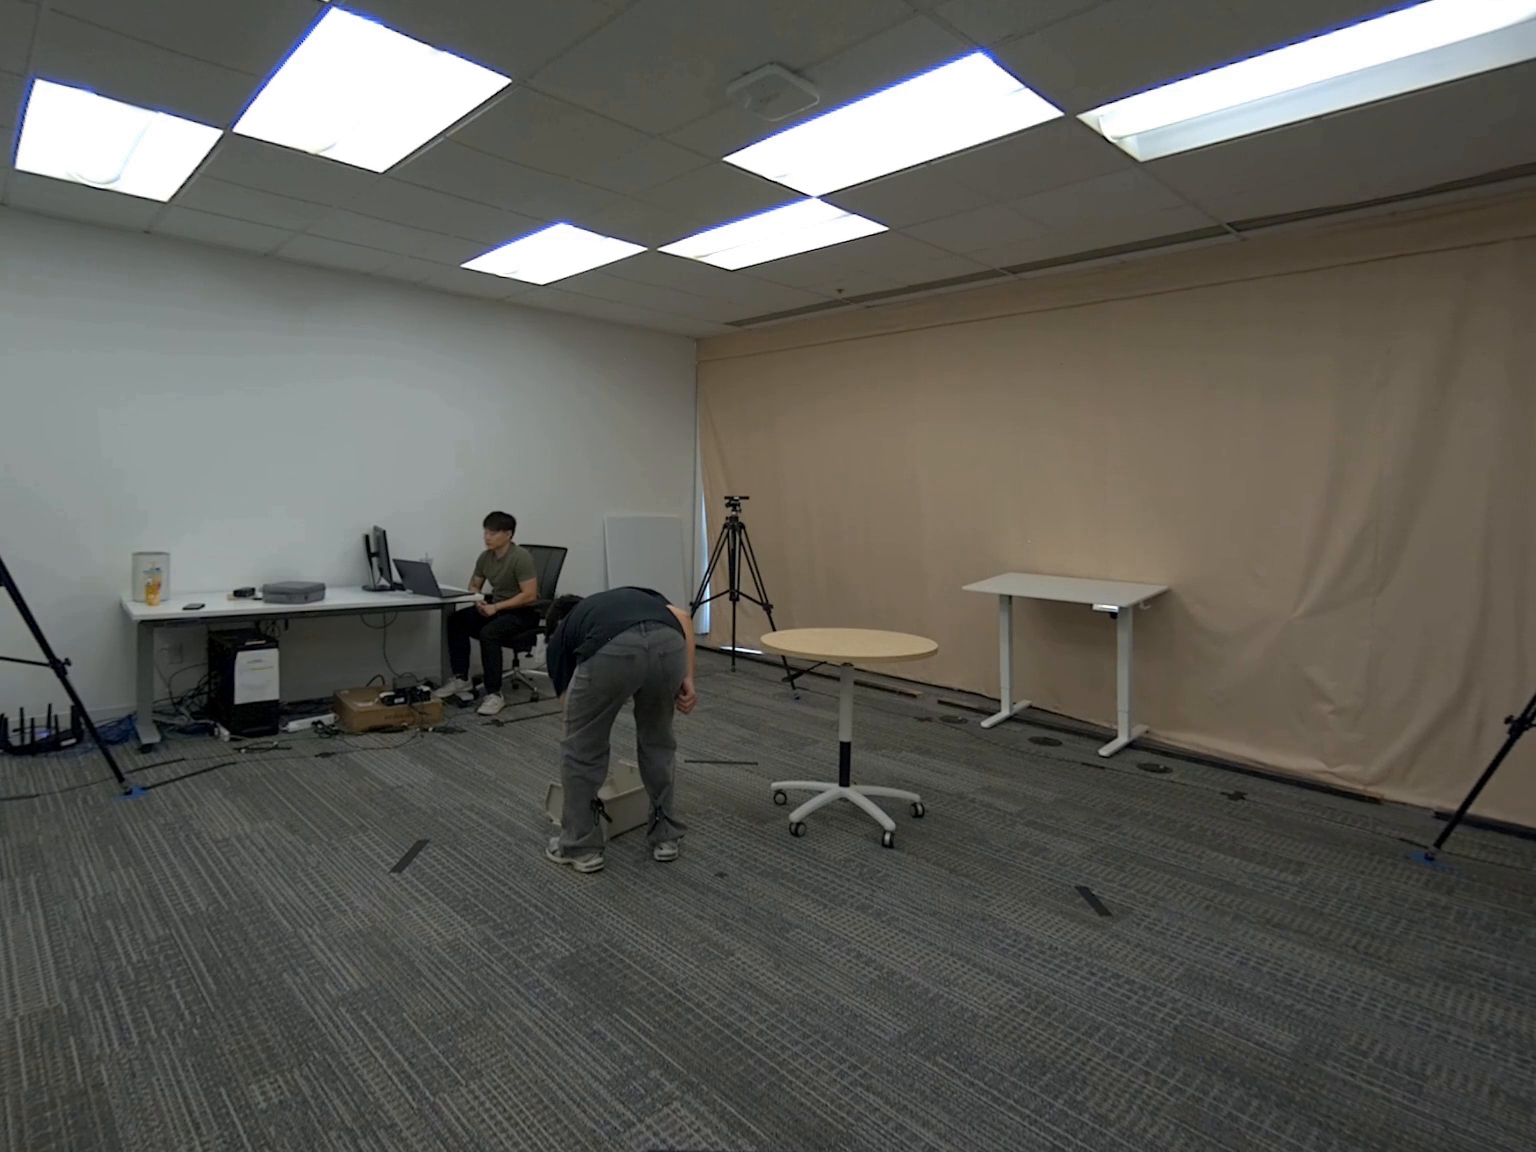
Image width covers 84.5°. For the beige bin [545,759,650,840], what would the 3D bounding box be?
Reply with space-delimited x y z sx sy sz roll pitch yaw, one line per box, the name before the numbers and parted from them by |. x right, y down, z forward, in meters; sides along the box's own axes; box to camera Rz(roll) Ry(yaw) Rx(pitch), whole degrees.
beige bin | -0.681 0.951 3.627 0.387 0.188 0.413 6 7 36
